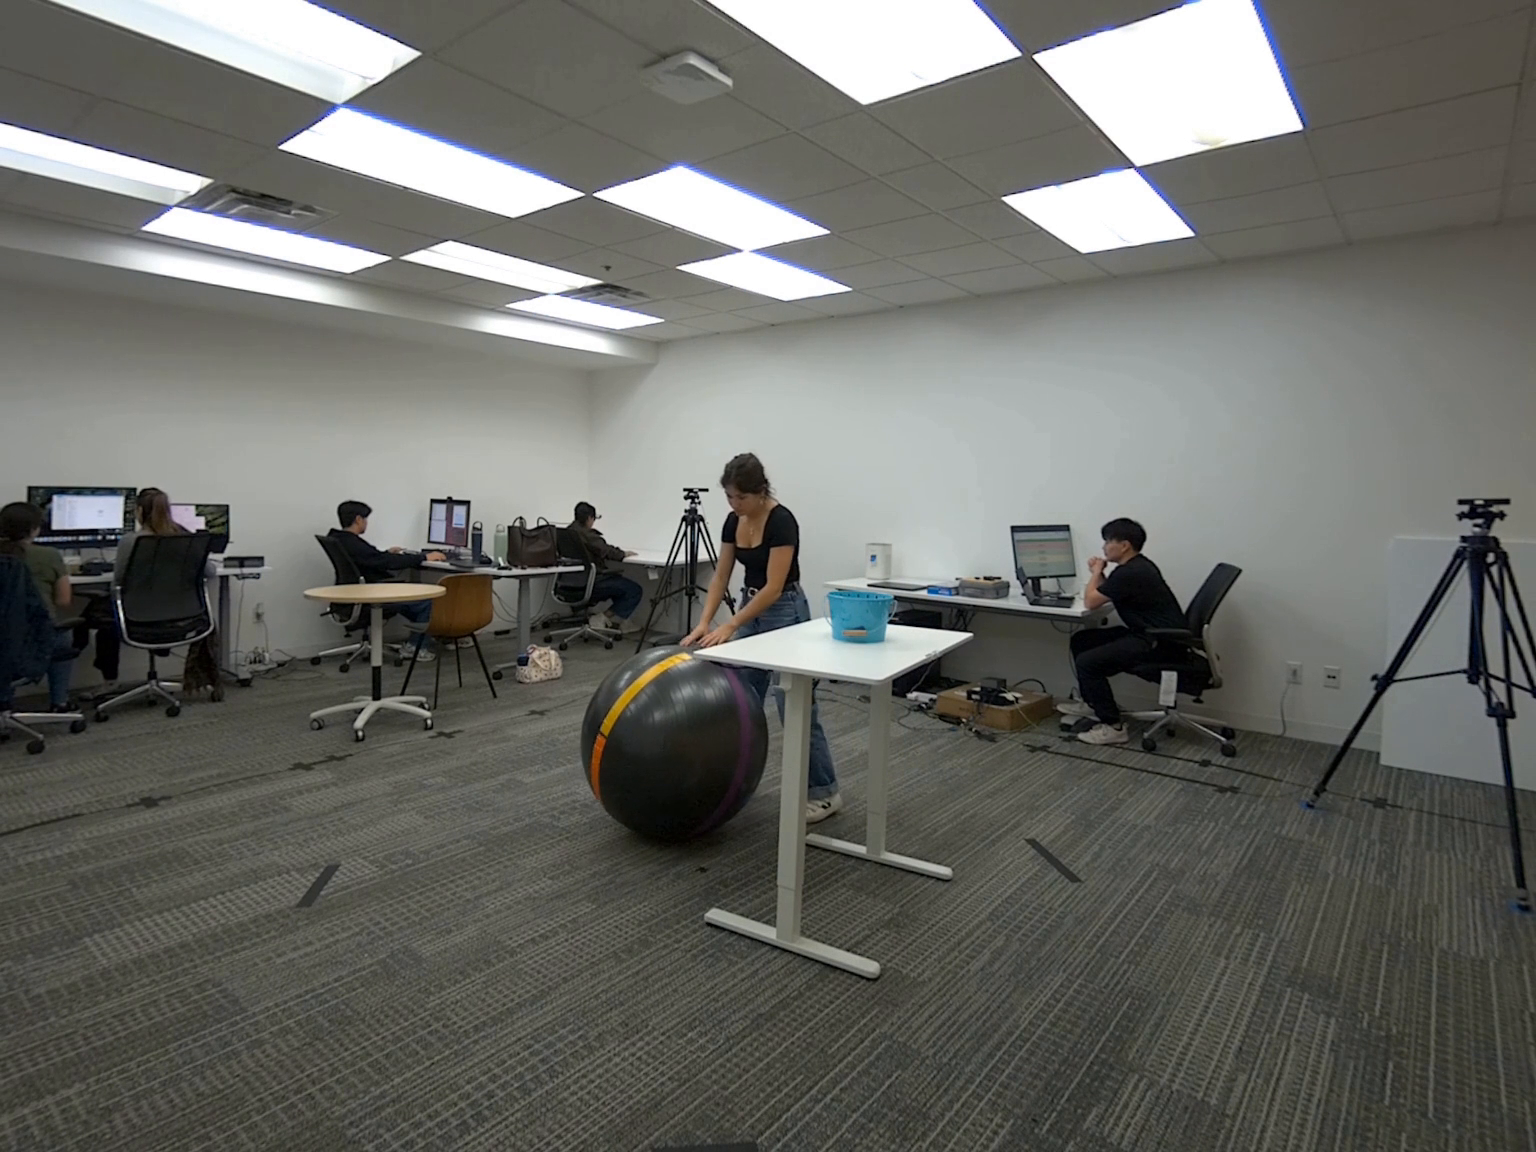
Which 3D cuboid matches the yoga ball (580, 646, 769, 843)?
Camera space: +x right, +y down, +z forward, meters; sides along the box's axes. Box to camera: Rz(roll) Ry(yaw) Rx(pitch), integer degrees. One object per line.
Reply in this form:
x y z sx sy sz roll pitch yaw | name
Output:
-0.386 0.670 3.436 0.757 0.756 0.762 1 4 -2 | yoga ball
